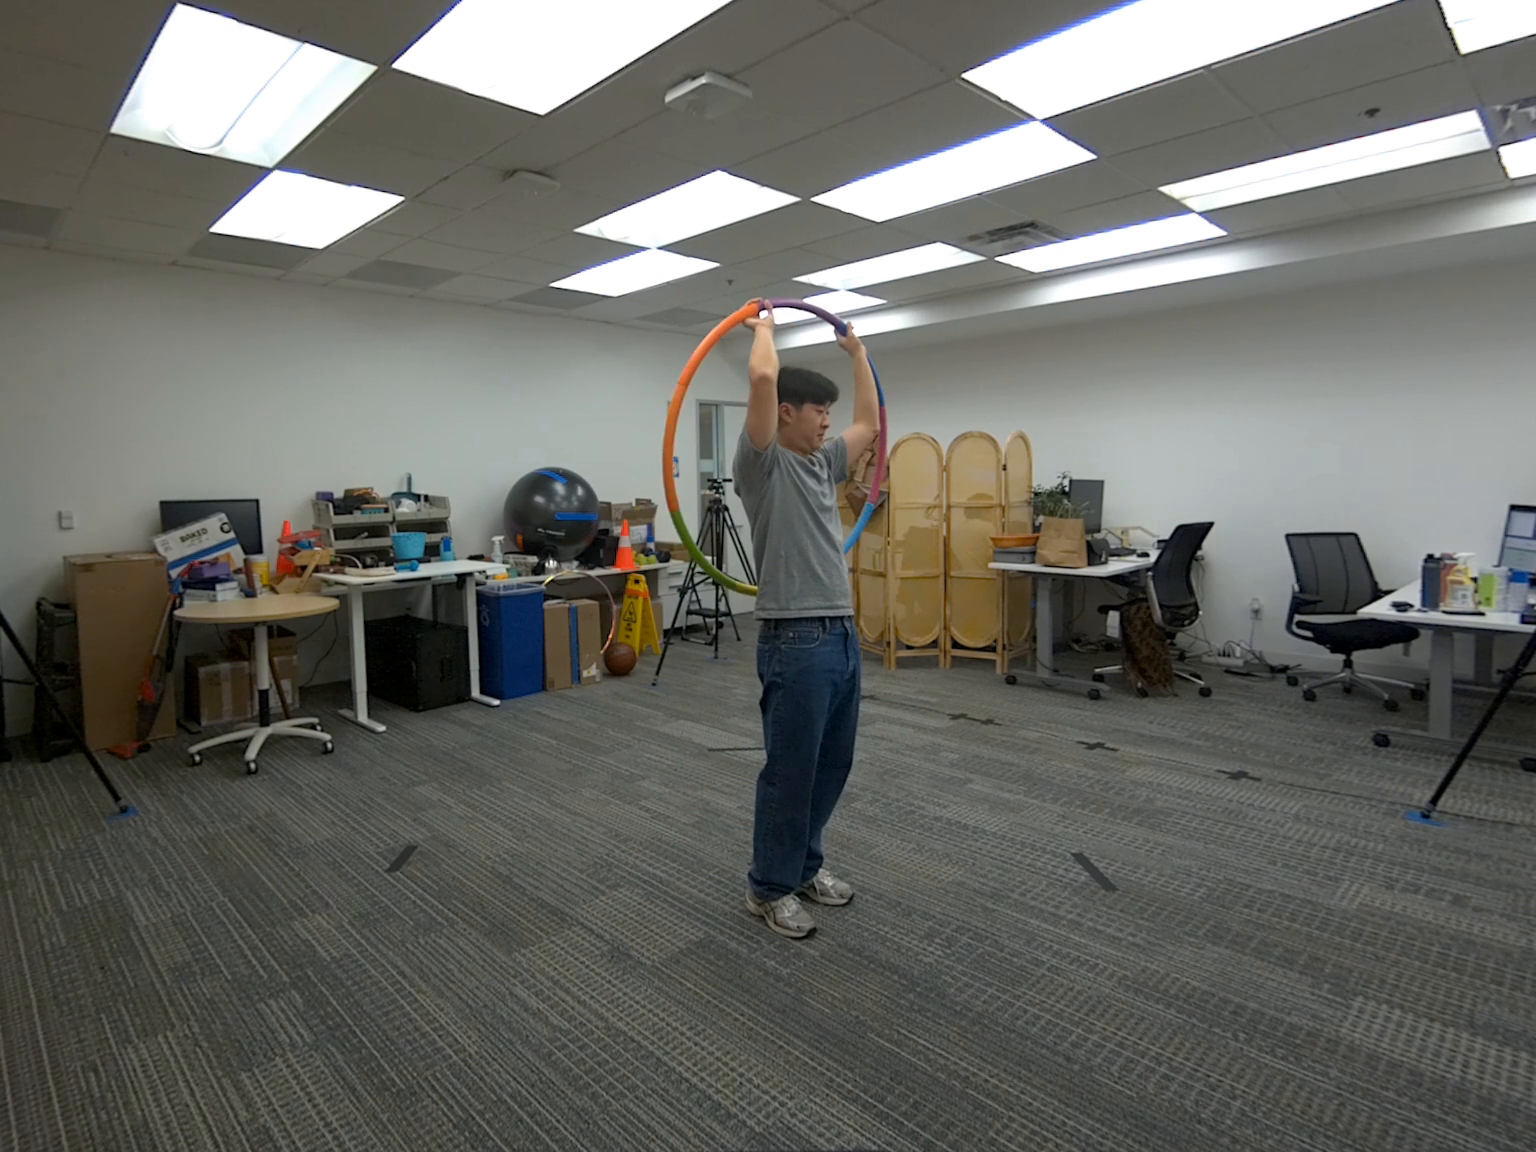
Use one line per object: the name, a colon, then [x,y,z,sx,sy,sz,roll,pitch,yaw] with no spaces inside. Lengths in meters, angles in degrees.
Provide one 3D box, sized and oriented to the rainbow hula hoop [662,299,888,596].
rainbow hula hoop: [0.056,-0.412,2.844,0.953,0.971,0.037,-5,12,-40]
